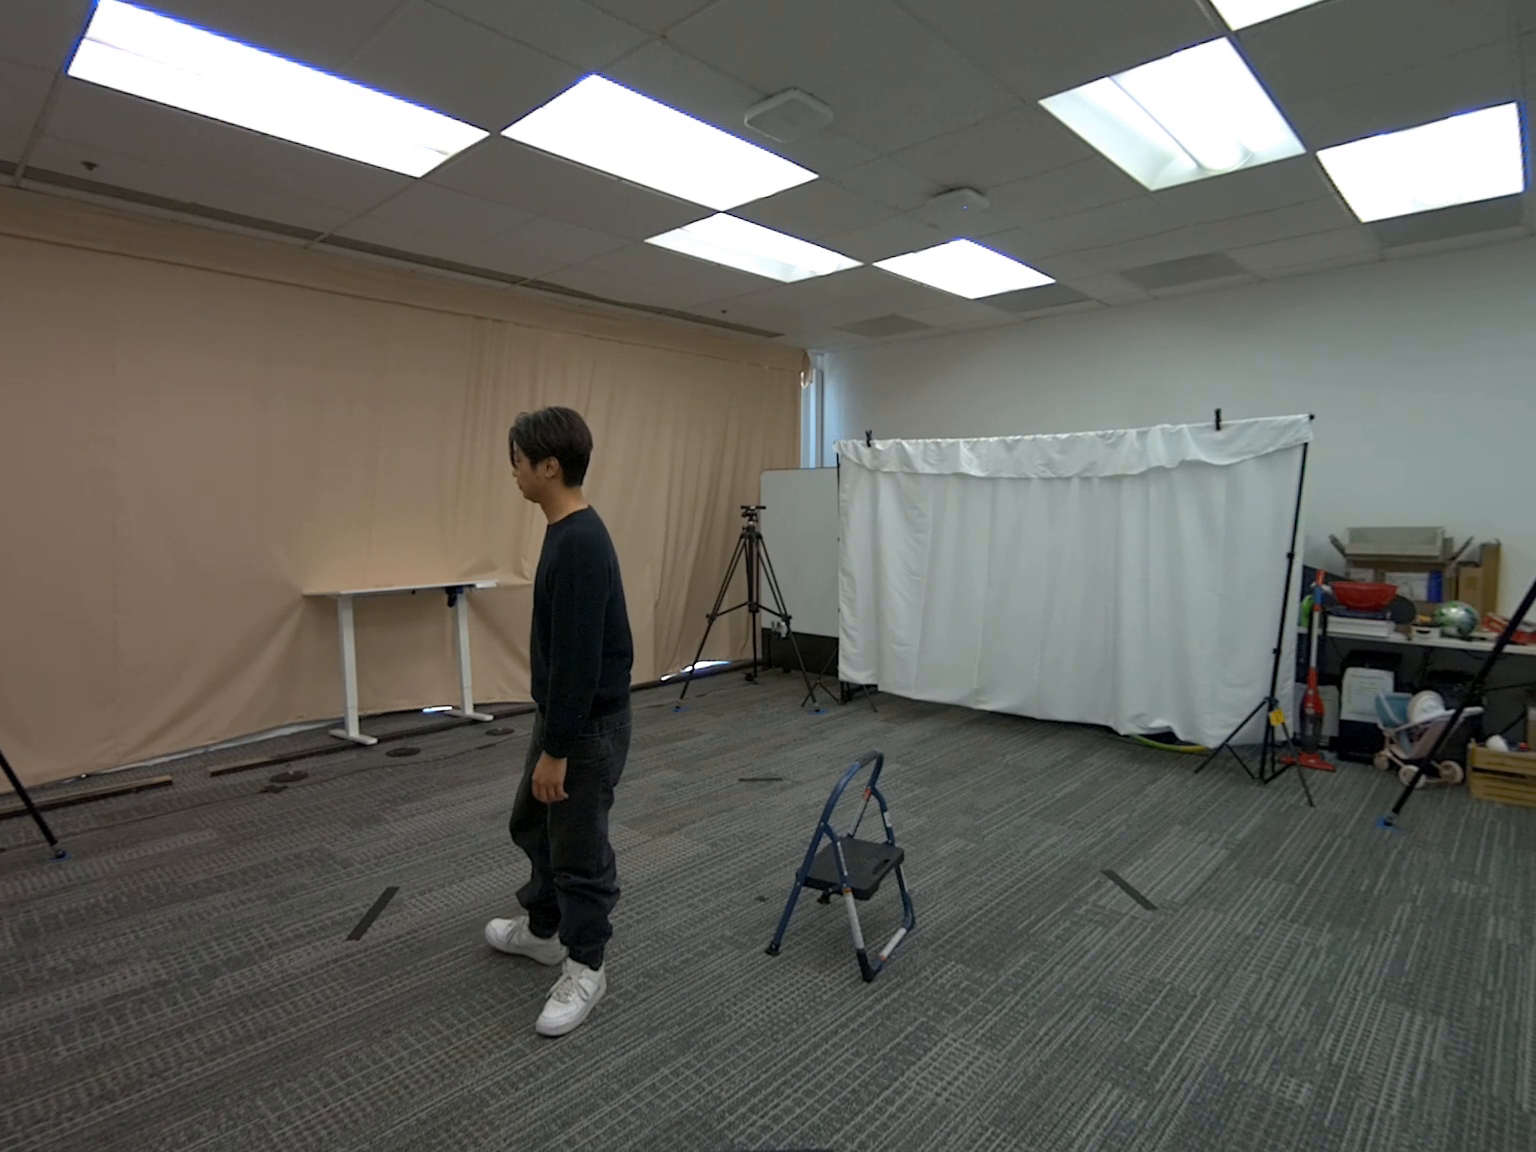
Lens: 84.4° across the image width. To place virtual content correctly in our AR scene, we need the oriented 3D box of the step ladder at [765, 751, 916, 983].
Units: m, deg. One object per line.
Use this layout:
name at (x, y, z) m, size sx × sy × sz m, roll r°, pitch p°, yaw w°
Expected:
step ladder at (0.244, 0.863, 2.697) m, size 0.359 × 0.605 × 0.419 m, roll 1°, pitch 3°, yaw 29°
